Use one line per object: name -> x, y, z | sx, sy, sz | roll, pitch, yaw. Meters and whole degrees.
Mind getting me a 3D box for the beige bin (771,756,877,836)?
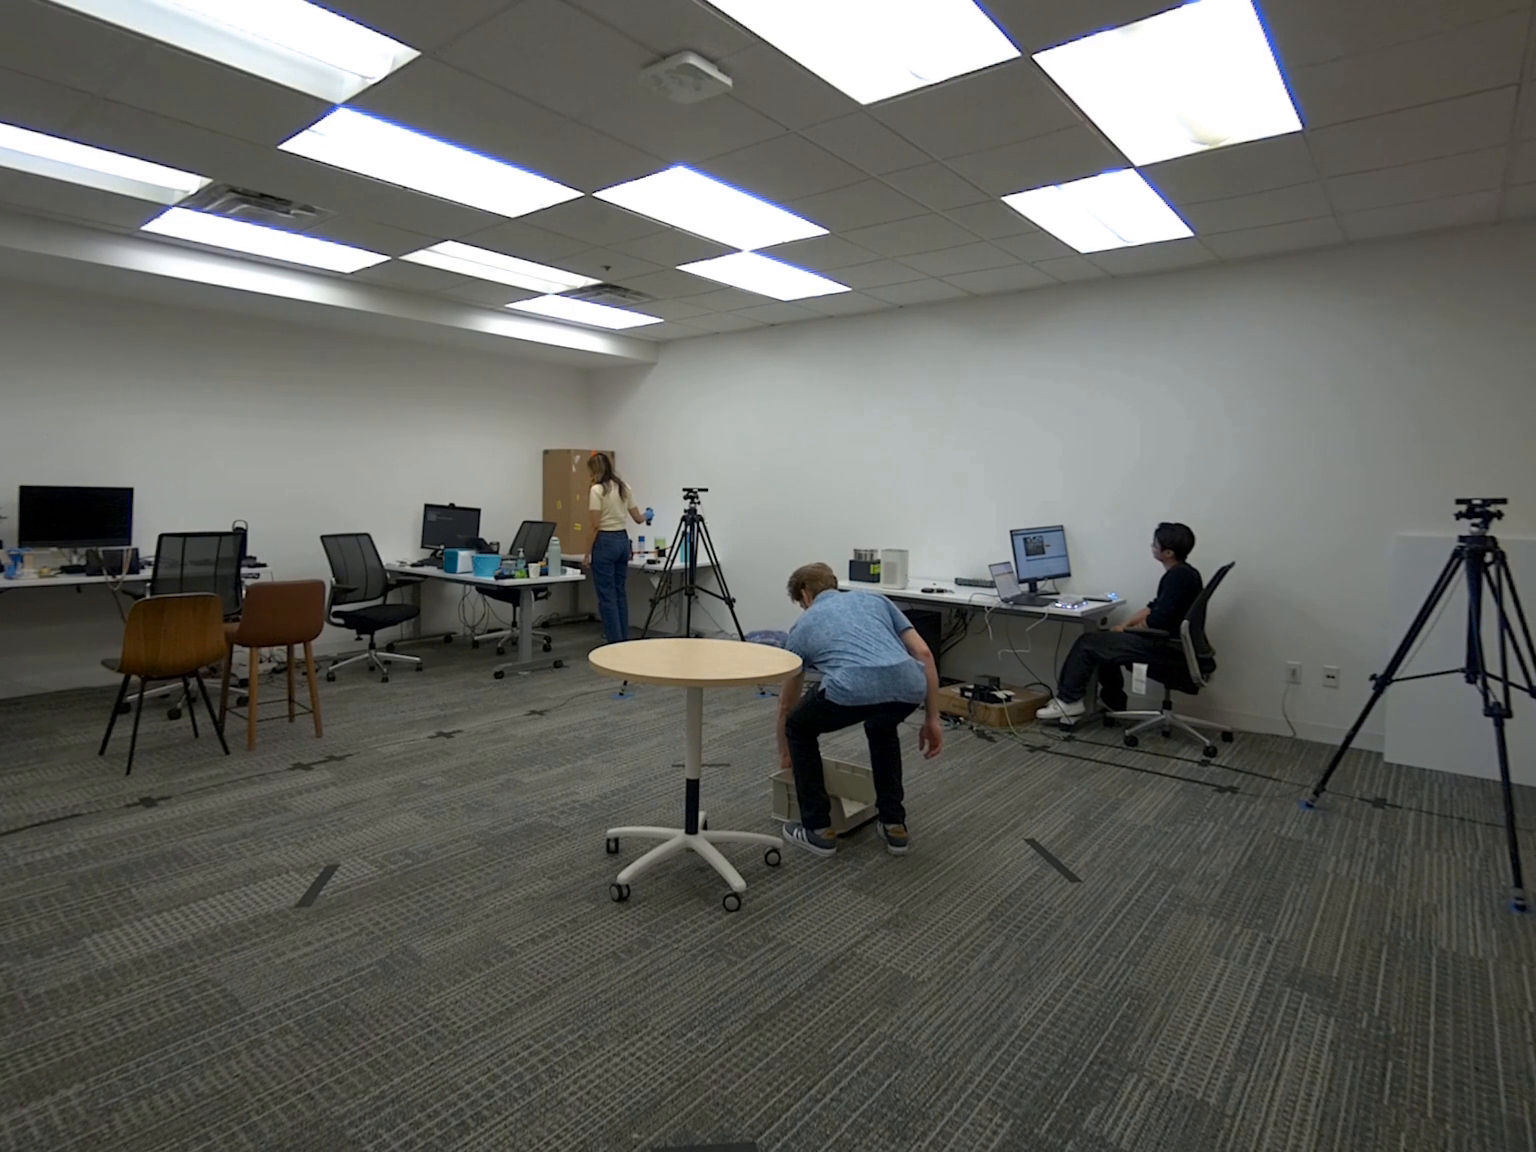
beige bin -> 0.266, 0.937, 3.663 | 0.390, 0.188, 0.410 | 4, 6, 36
